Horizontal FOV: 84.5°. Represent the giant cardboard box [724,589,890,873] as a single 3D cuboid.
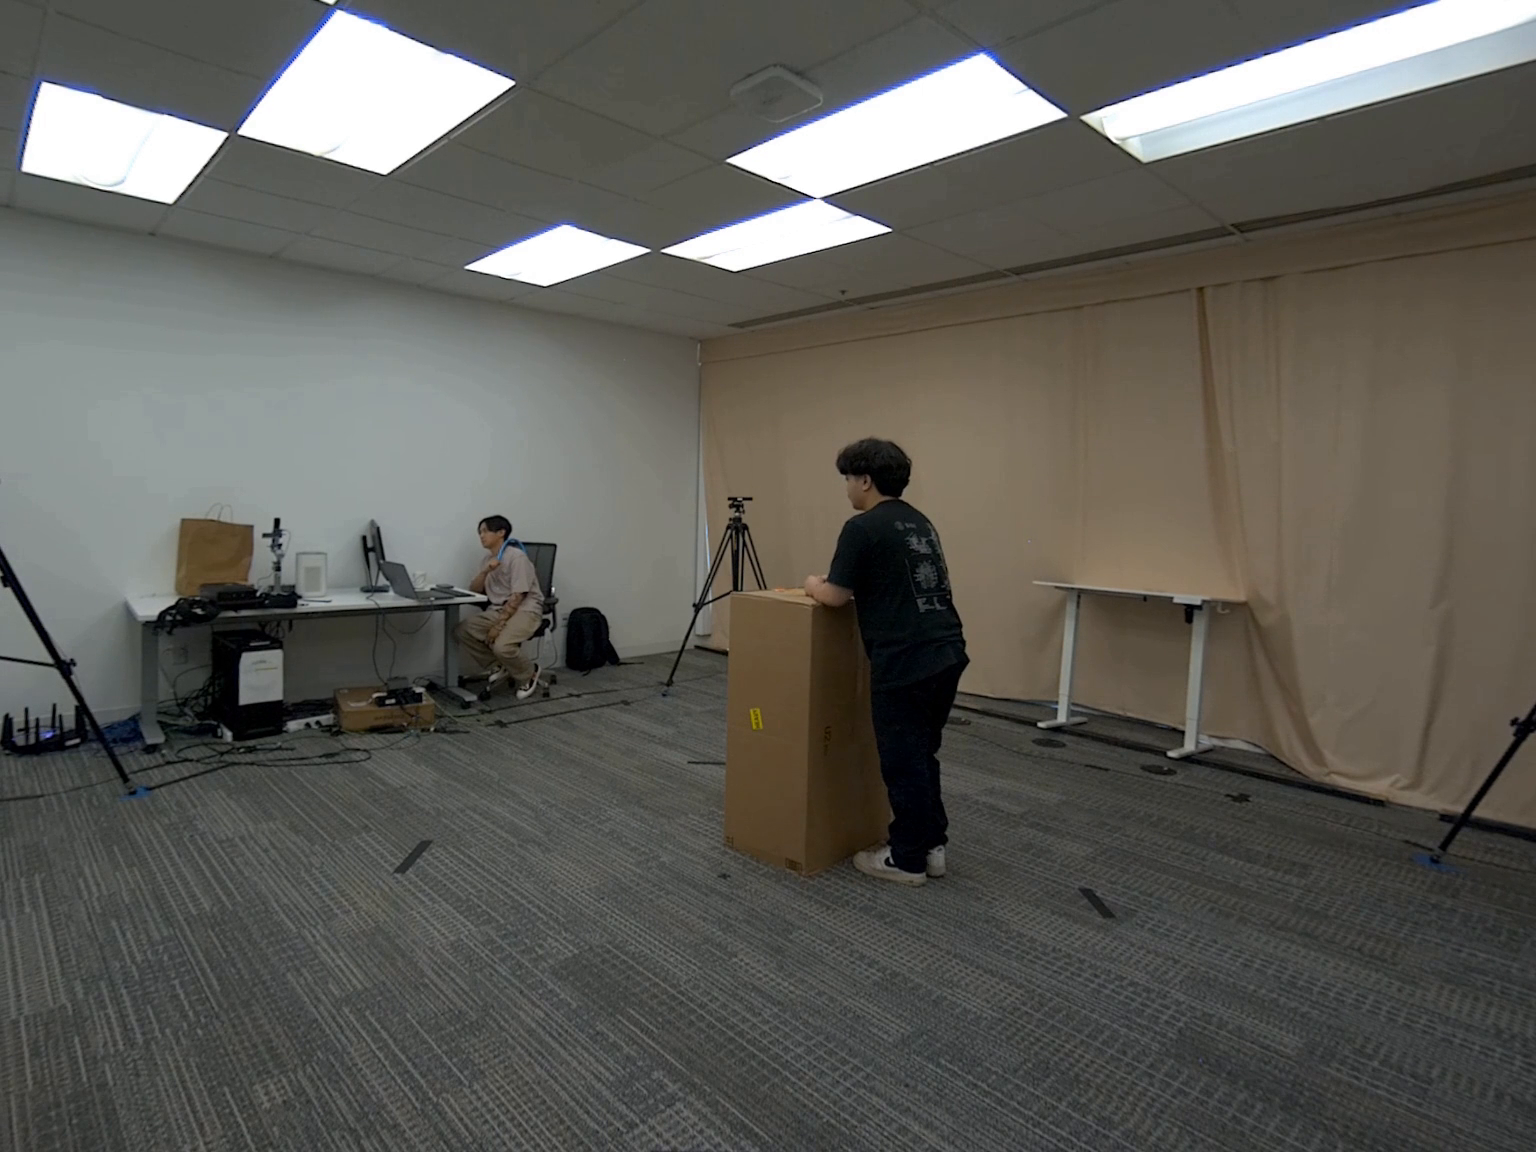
[{"bbox_3d":[0.169,0.576,3.438,0.458,1.025,0.570,4,3,44],"label":"giant cardboard box"}]
